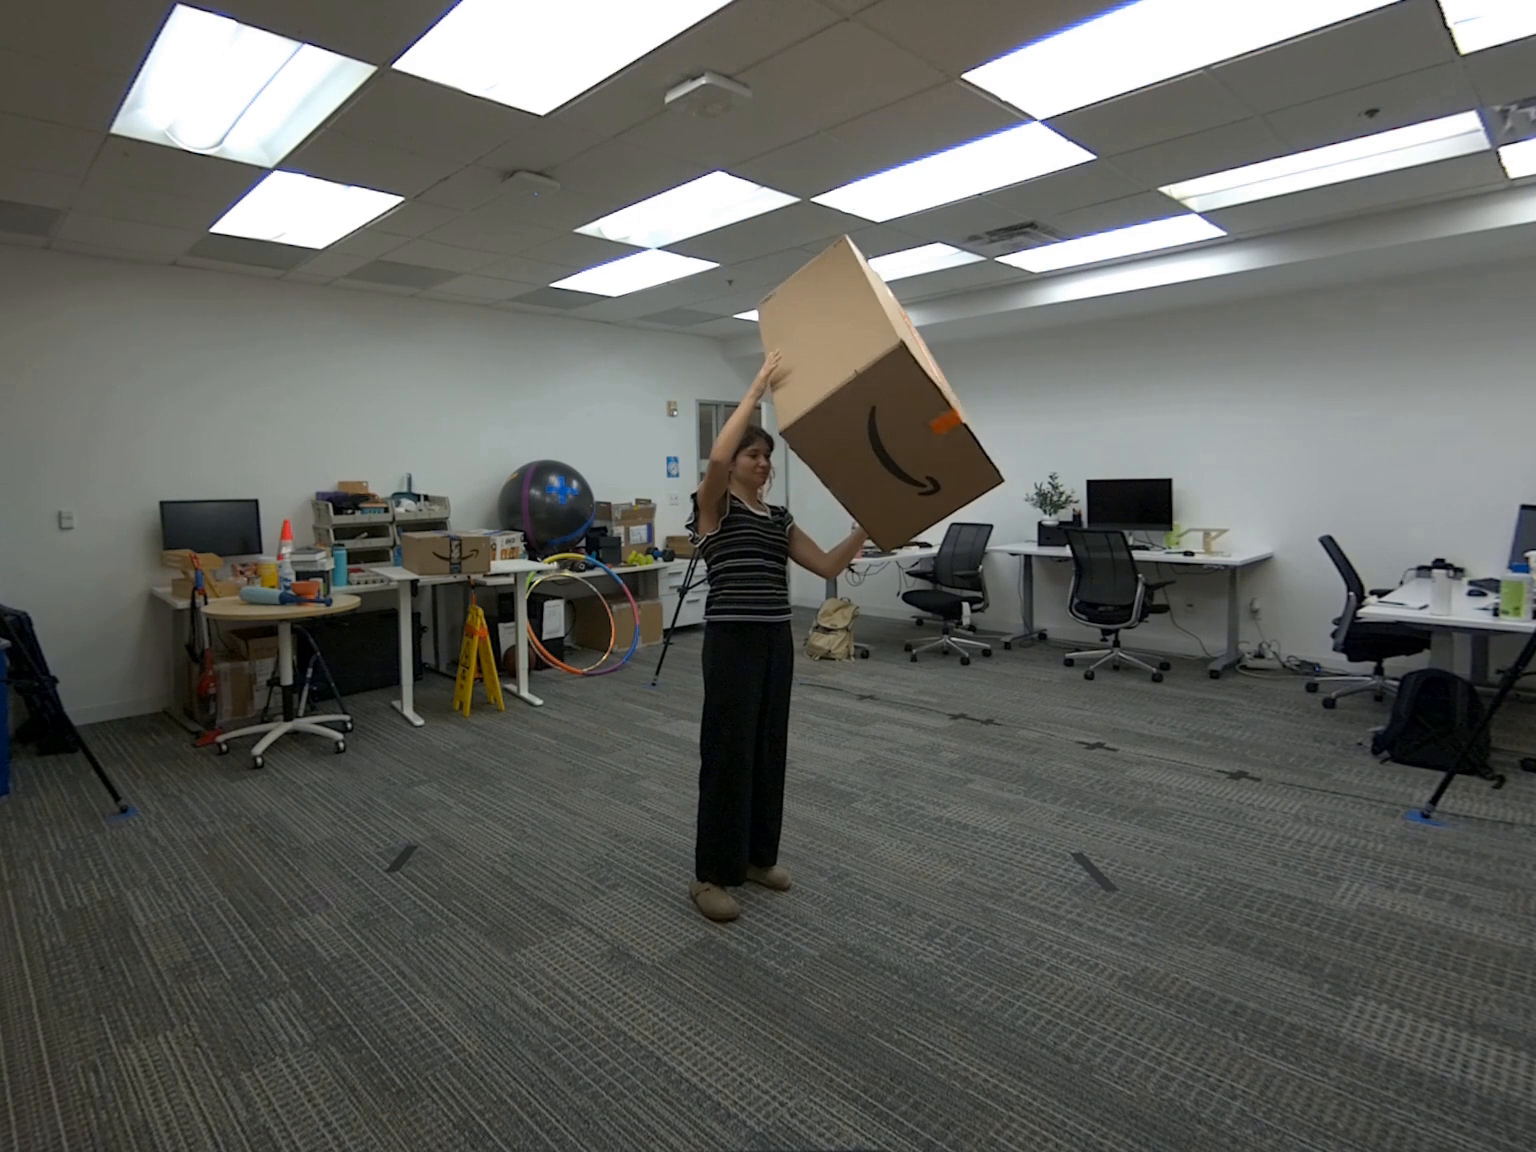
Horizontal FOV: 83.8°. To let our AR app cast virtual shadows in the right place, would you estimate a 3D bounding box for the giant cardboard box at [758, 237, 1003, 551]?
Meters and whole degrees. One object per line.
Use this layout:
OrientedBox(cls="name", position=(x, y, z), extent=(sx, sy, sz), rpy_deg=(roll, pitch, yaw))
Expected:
OrientedBox(cls="giant cardboard box", position=(0.323, -0.663, 2.895), extent=(0.428, 0.558, 1.055), rpy_deg=(-34, 32, 19))
